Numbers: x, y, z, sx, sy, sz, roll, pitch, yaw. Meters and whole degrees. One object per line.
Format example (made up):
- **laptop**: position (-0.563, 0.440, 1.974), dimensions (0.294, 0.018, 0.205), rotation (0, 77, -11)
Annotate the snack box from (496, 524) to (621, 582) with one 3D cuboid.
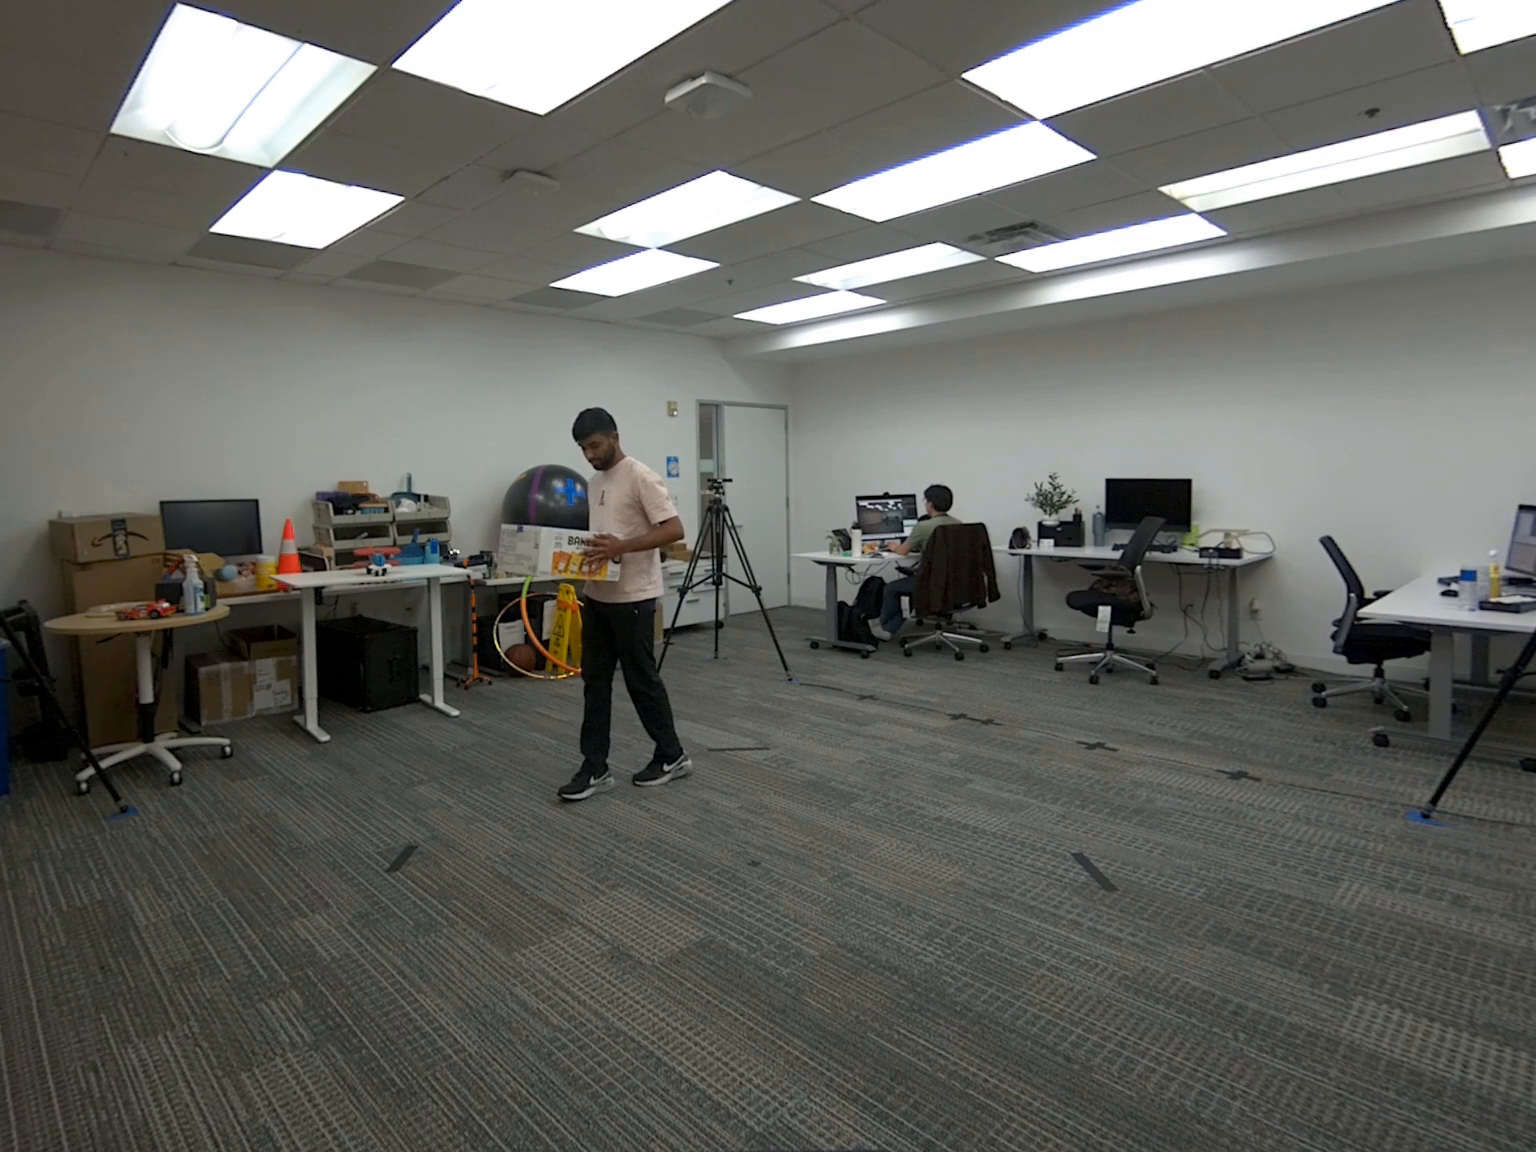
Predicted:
- **snack box**: position (-0.889, -0.103, 3.663), dimensions (0.392, 0.206, 0.351), rotation (4, 0, -45)
